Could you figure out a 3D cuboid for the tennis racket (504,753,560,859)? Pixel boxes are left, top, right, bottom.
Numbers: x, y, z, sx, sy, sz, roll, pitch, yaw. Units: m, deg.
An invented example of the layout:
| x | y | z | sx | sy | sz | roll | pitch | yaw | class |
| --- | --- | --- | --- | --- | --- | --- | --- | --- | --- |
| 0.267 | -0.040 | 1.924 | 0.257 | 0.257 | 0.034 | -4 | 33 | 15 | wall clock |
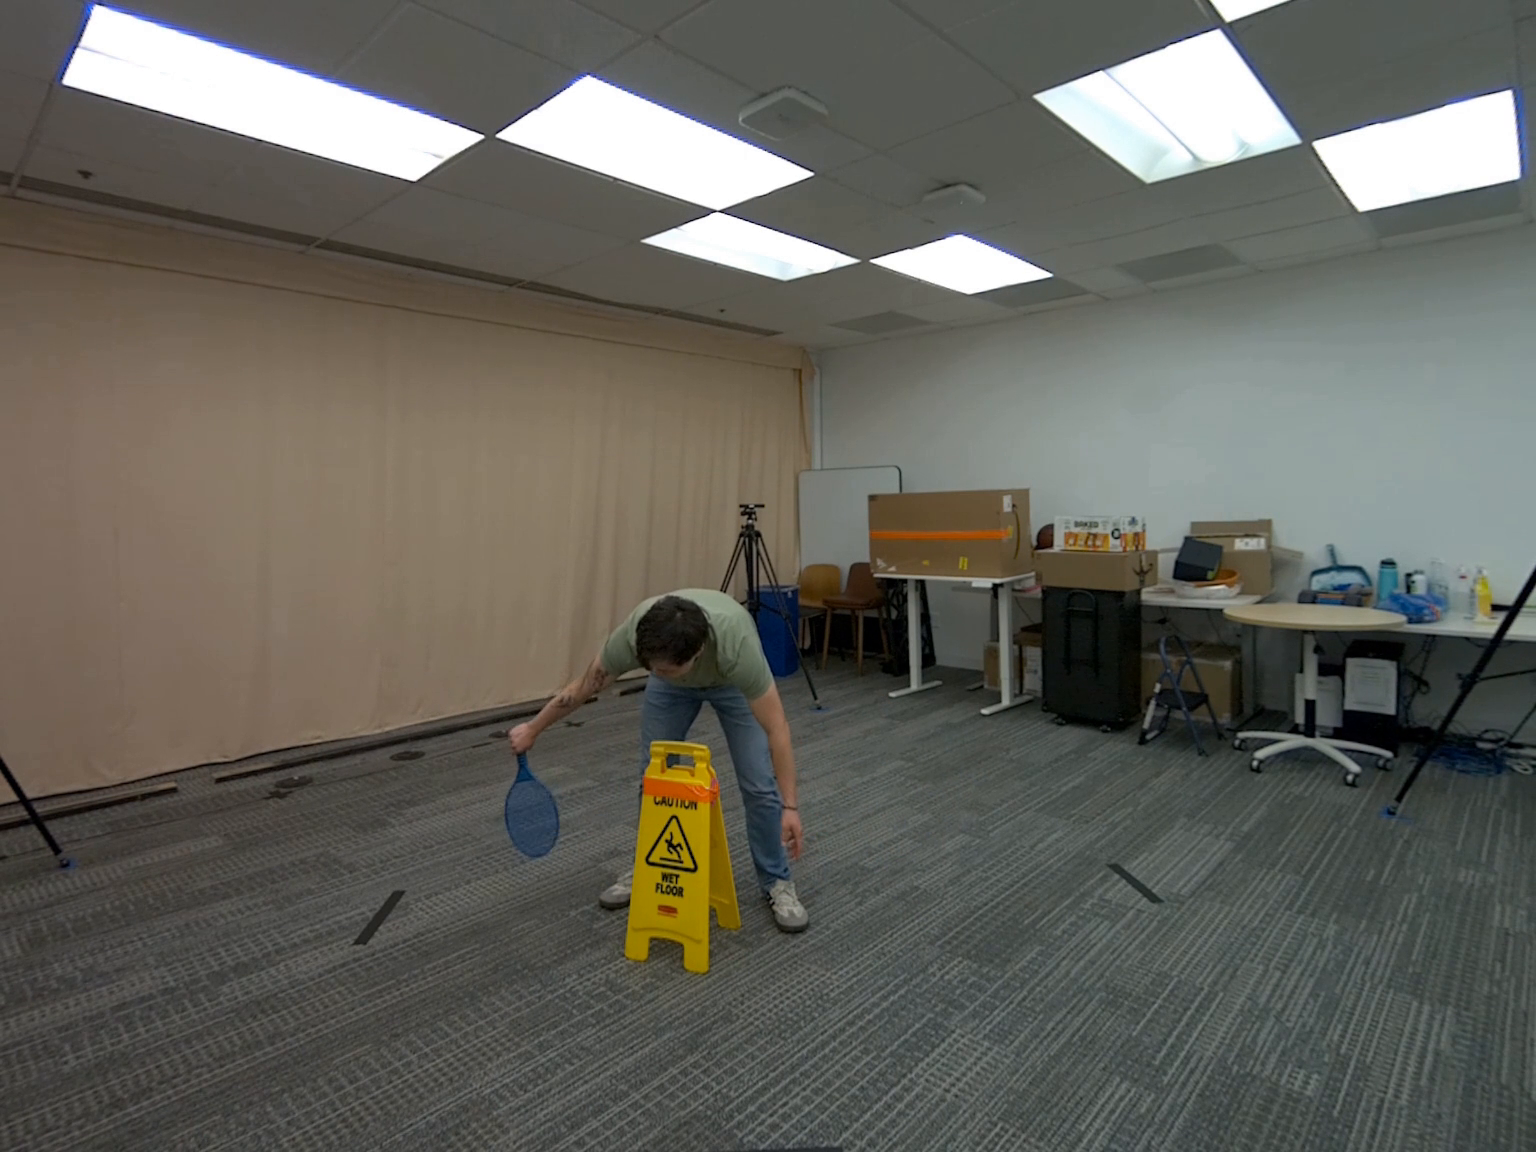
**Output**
| x | y | z | sx | sy | sz | roll | pitch | yaw | class |
| --- | --- | --- | --- | --- | --- | --- | --- | --- | --- |
| -0.818 | 0.738 | 2.872 | 0.218 | 0.435 | 0.031 | -10 | -7 | 21 | tennis racket |
